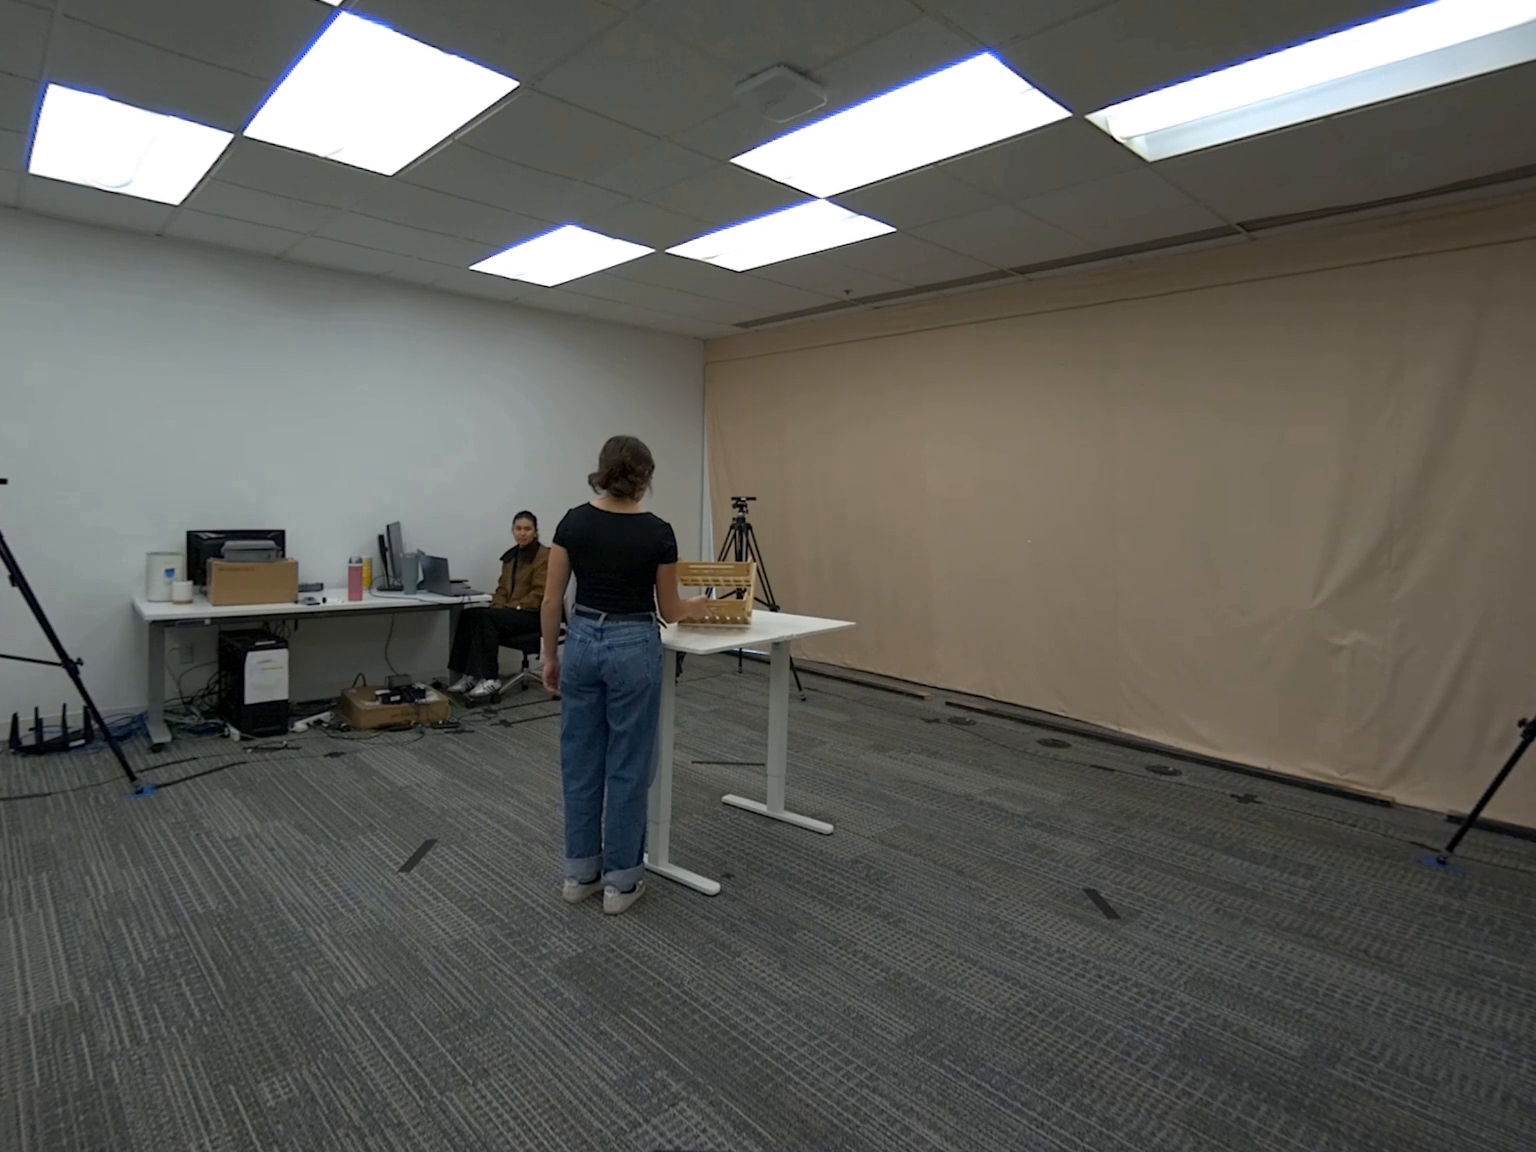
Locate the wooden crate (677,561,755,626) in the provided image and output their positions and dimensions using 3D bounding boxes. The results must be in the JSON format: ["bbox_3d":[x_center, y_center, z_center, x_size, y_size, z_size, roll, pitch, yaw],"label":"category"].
[{"bbox_3d":[-0.227,0.046,3.323,0.327,0.276,0.297,1,-15,8],"label":"wooden crate"}]
